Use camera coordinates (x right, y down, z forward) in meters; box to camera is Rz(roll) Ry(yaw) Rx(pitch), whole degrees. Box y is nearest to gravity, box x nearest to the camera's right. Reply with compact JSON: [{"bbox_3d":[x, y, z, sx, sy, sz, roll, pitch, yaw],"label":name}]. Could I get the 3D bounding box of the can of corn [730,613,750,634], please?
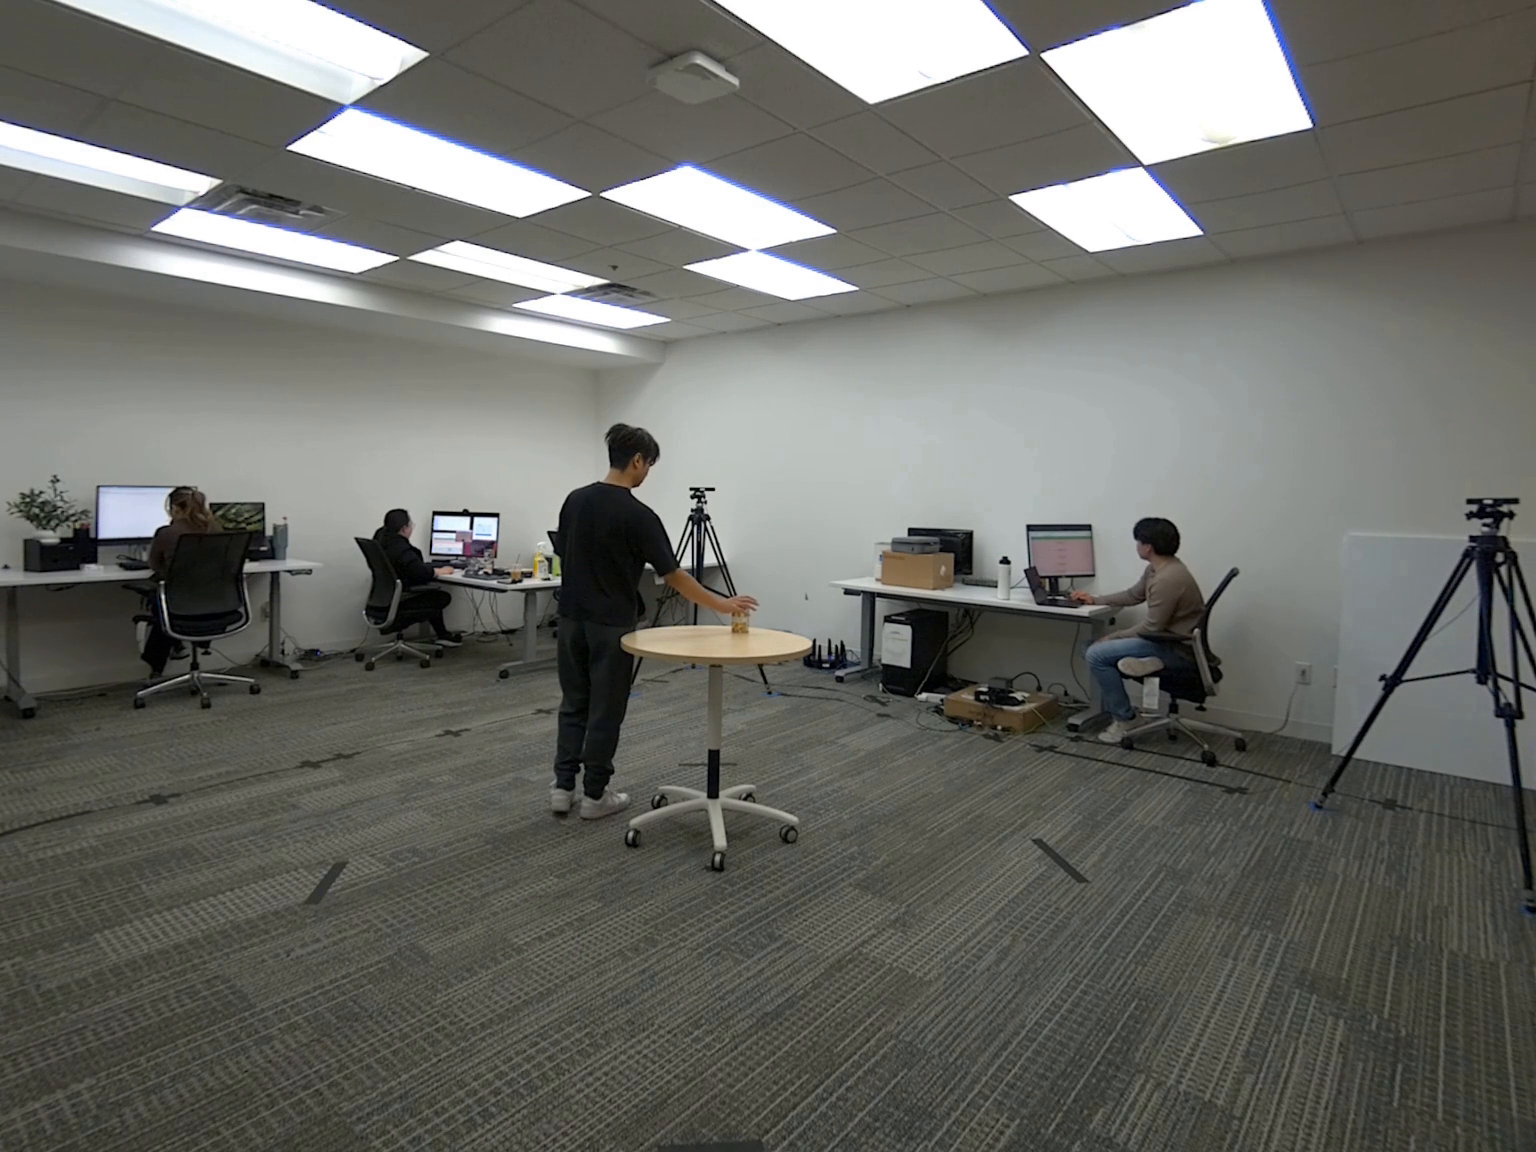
[{"bbox_3d":[-0.135,0.180,3.633,0.074,0.110,0.075,1,7,-2],"label":"can of corn"}]
